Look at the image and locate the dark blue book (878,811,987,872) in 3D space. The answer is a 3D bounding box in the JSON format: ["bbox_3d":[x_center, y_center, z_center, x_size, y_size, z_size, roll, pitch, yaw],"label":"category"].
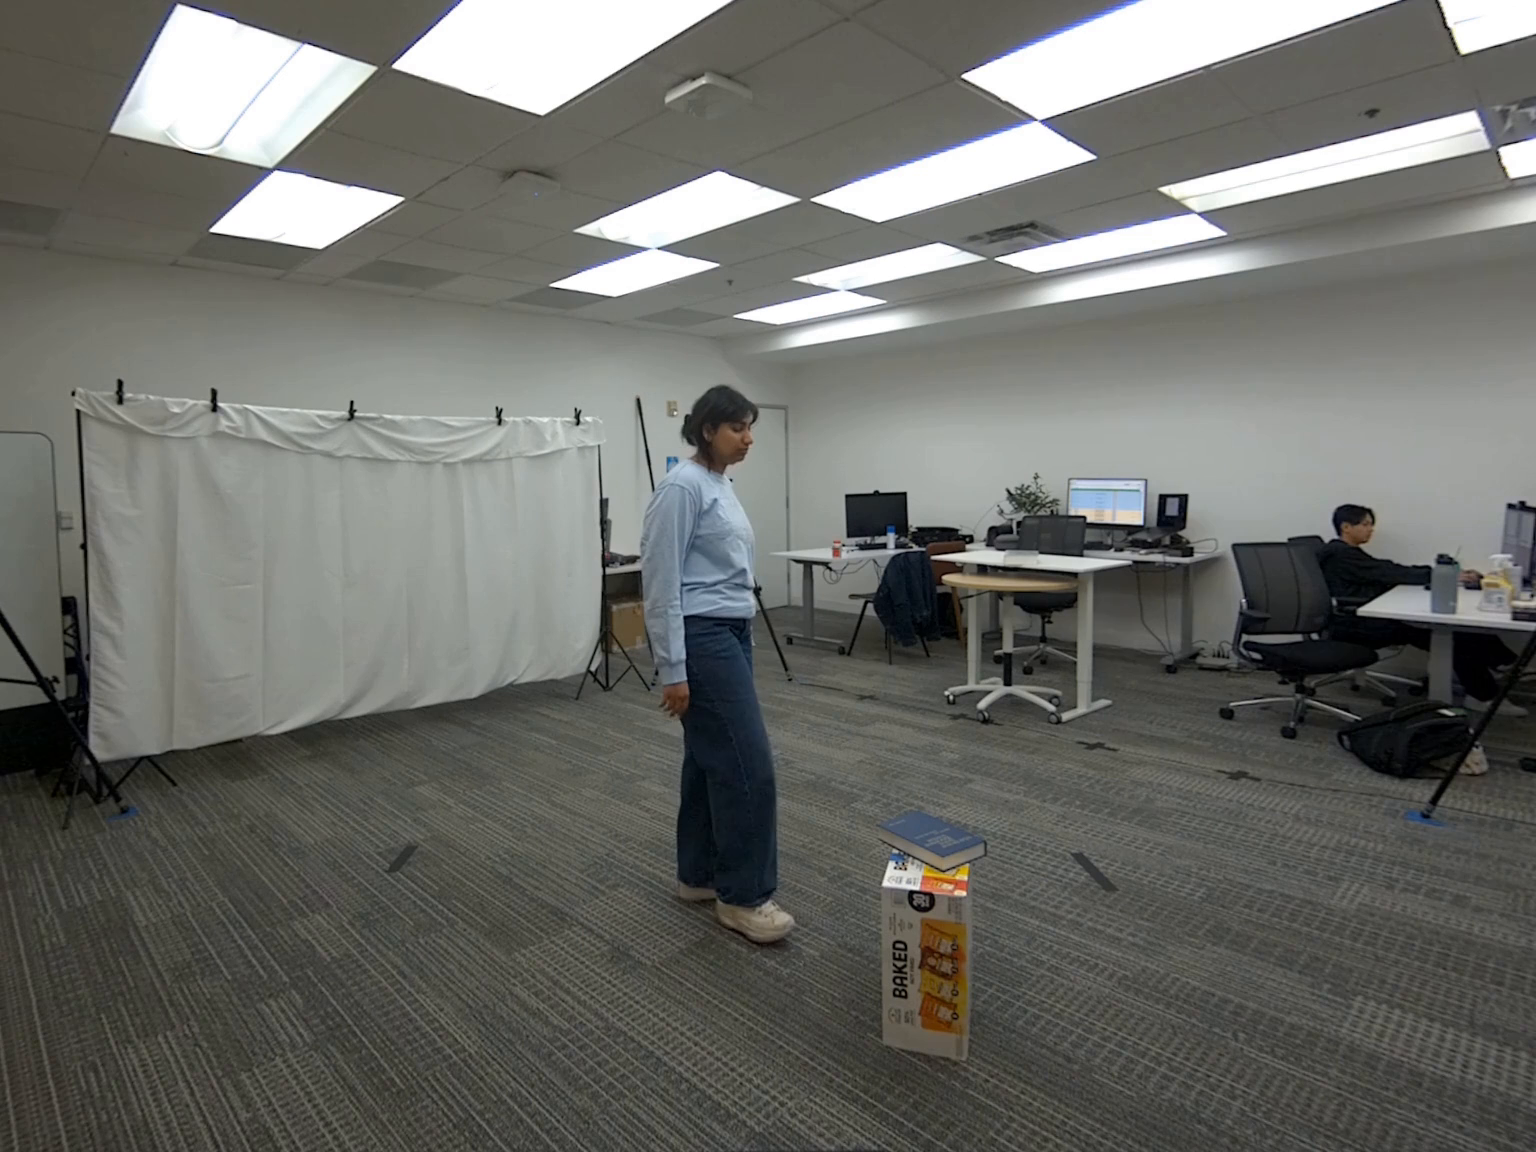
[{"bbox_3d":[0.440,0.708,2.283,0.159,0.045,0.252,-7,9,-33],"label":"dark blue book"}]
